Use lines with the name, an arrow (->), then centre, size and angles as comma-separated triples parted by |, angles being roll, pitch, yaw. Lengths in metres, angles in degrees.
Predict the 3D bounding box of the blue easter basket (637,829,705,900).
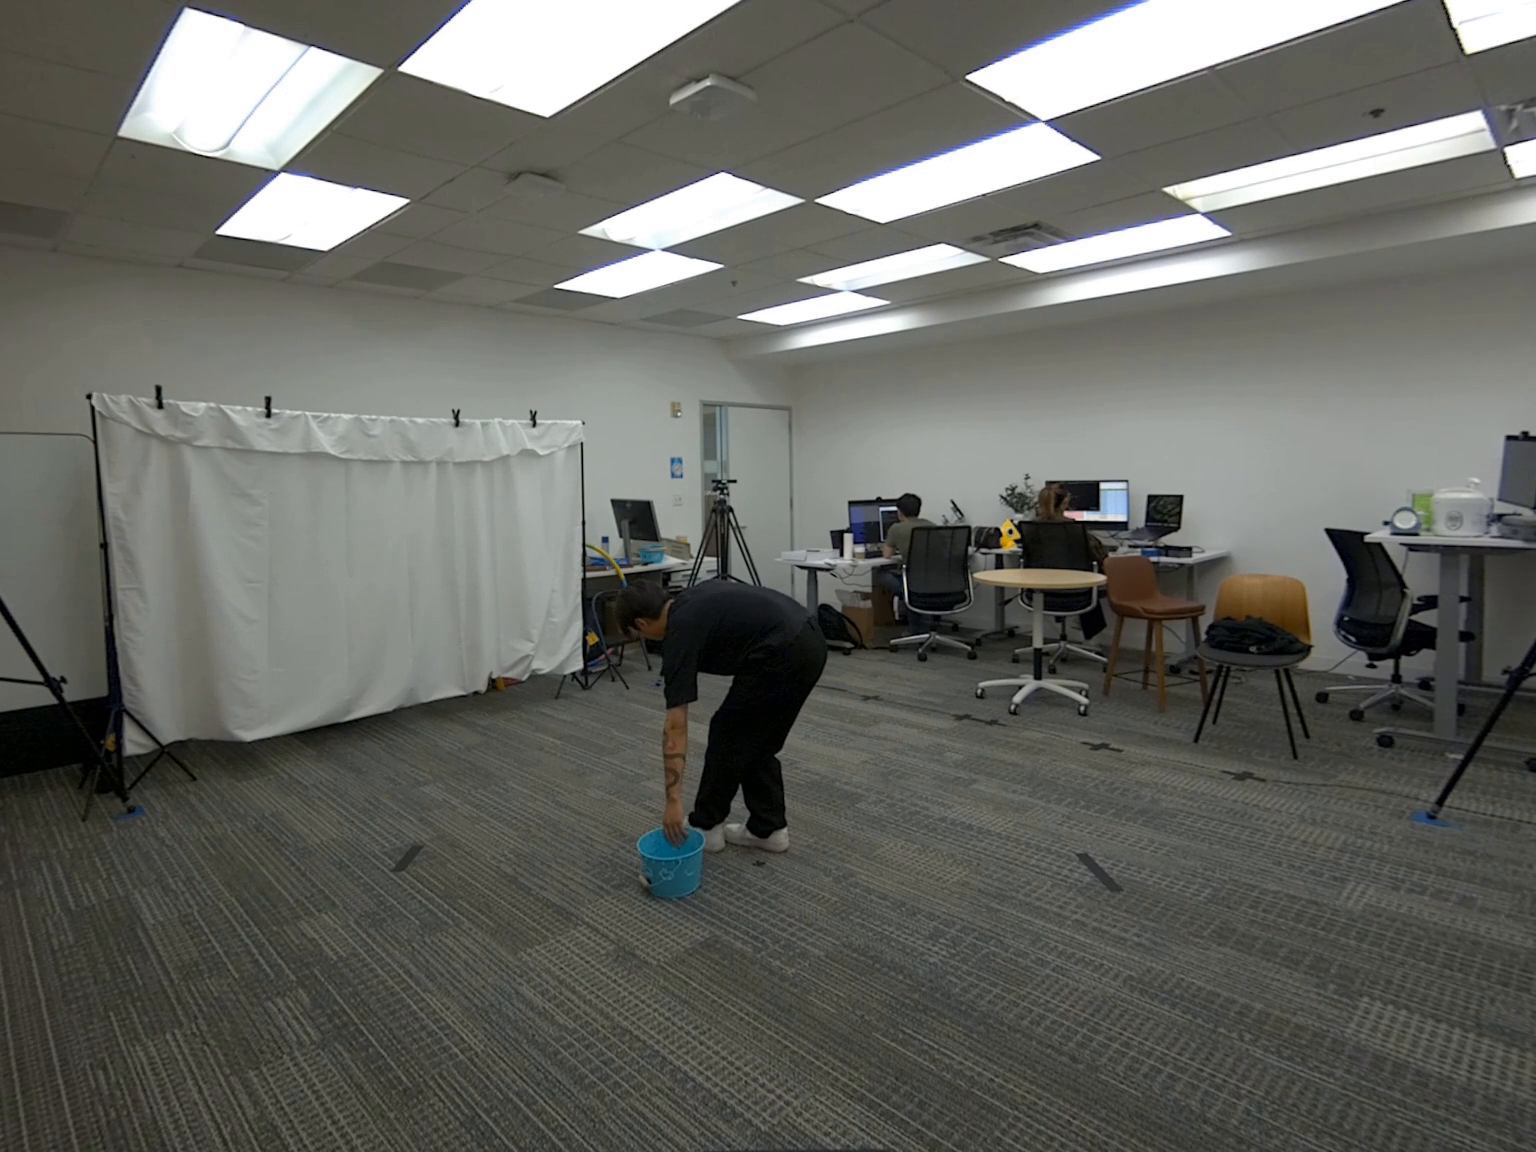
blue easter basket -> -0.320, 0.987, 2.945 | 0.243, 0.154, 0.246 | -3, 9, -1
